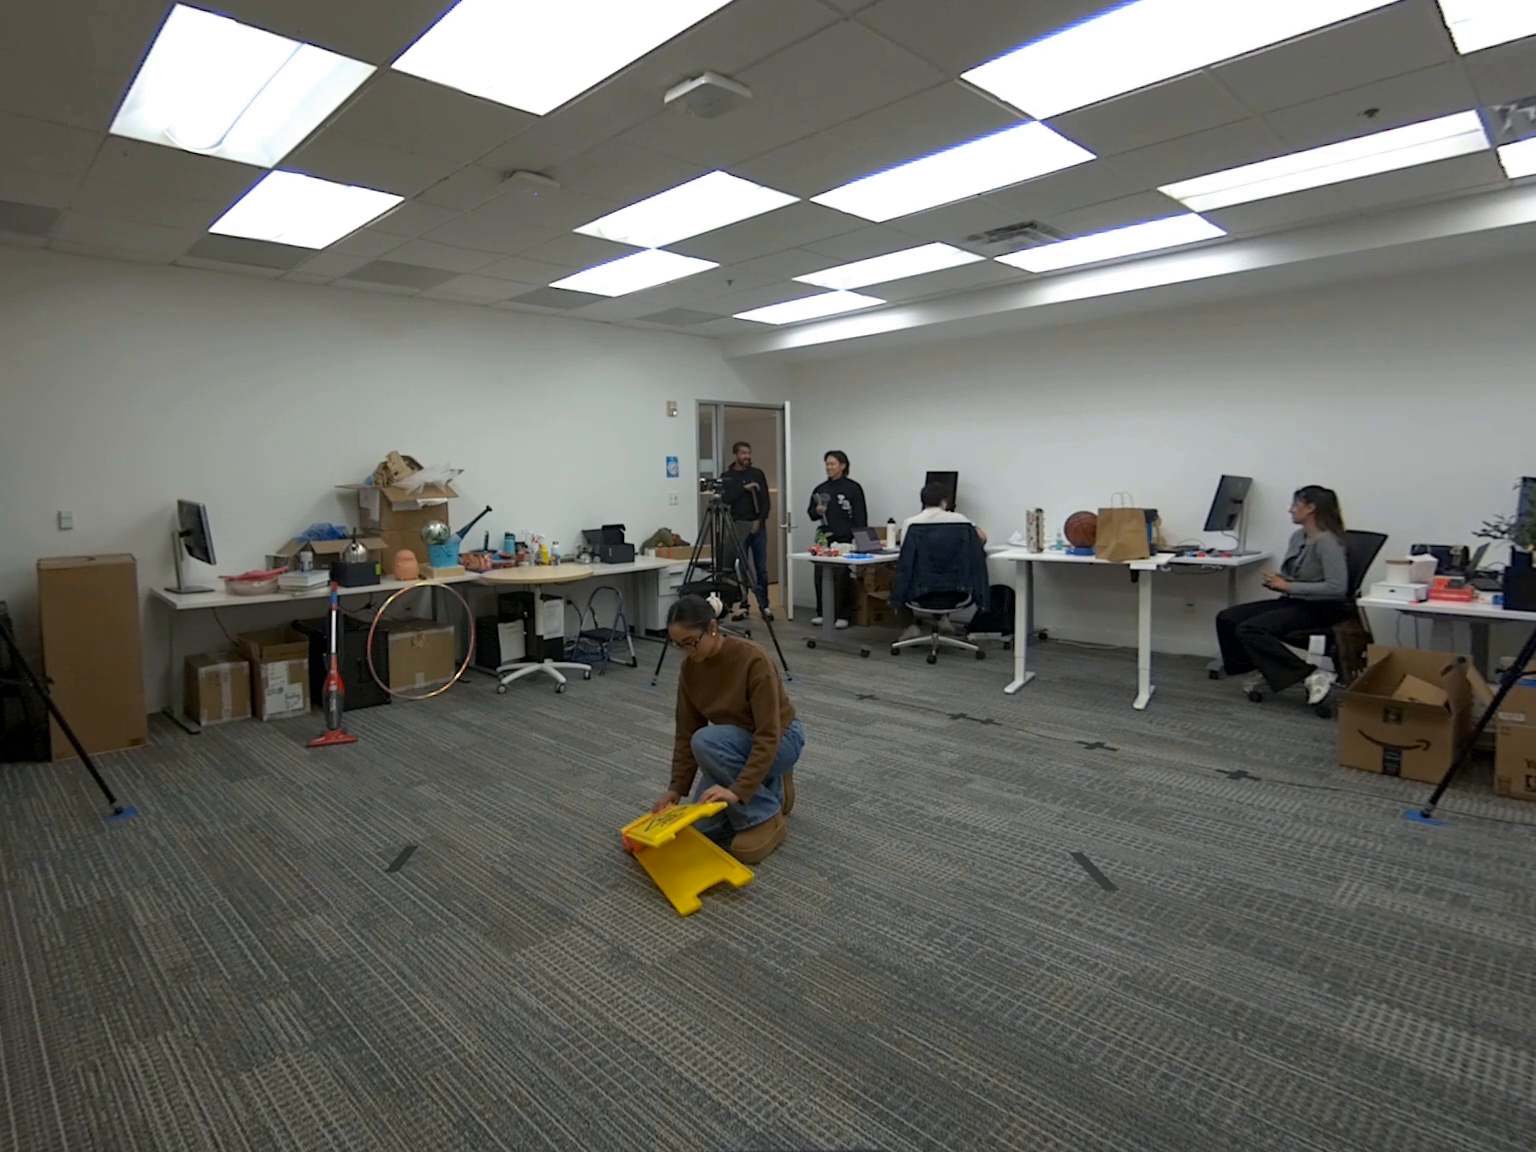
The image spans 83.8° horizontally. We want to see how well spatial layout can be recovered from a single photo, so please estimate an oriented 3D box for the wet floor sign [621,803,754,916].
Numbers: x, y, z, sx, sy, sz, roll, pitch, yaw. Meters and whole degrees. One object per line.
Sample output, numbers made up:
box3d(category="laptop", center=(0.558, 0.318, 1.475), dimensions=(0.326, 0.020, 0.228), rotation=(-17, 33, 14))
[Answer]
box3d(category="wet floor sign", center=(-0.347, 0.944, 3.074), dimensions=(0.278, 0.288, 0.658), rotation=(-22, 7, -26))
